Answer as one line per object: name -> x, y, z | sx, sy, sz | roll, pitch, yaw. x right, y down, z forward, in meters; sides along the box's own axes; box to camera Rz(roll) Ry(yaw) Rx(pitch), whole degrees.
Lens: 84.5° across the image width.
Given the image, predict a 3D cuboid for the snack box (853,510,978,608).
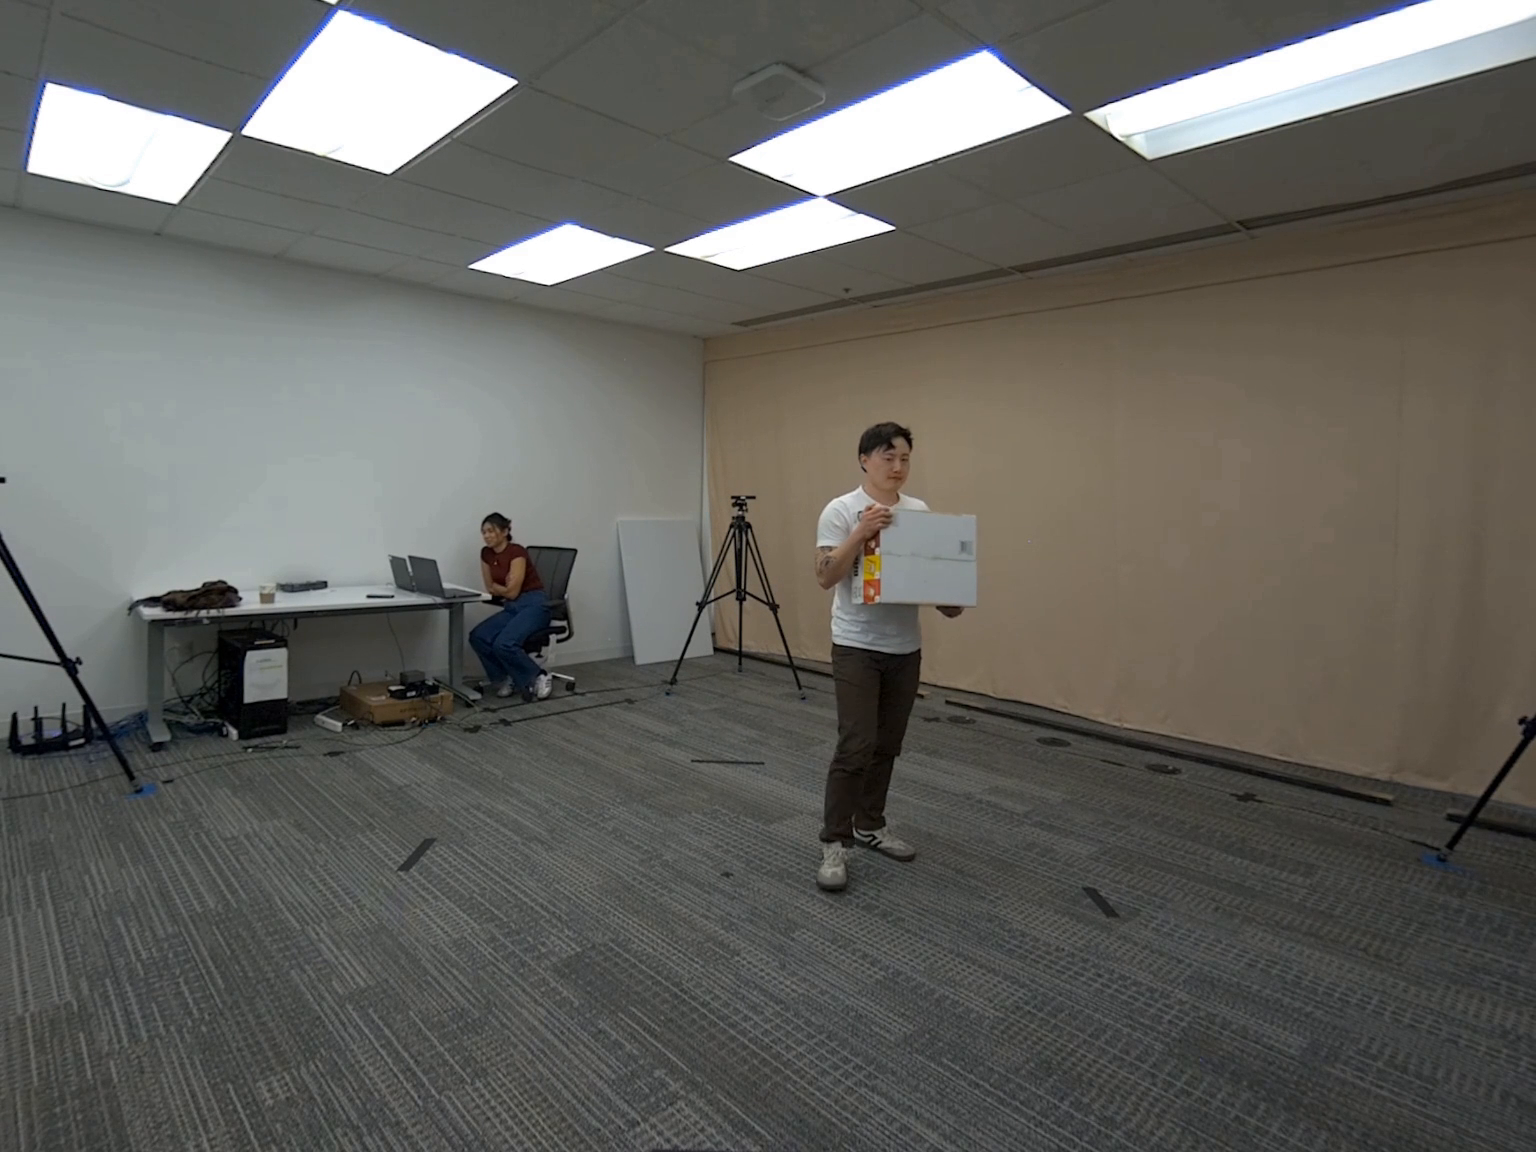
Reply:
snack box -> 0.521, -0.057, 3.056 | 0.399, 0.342, 0.208 | 4, -6, -19
